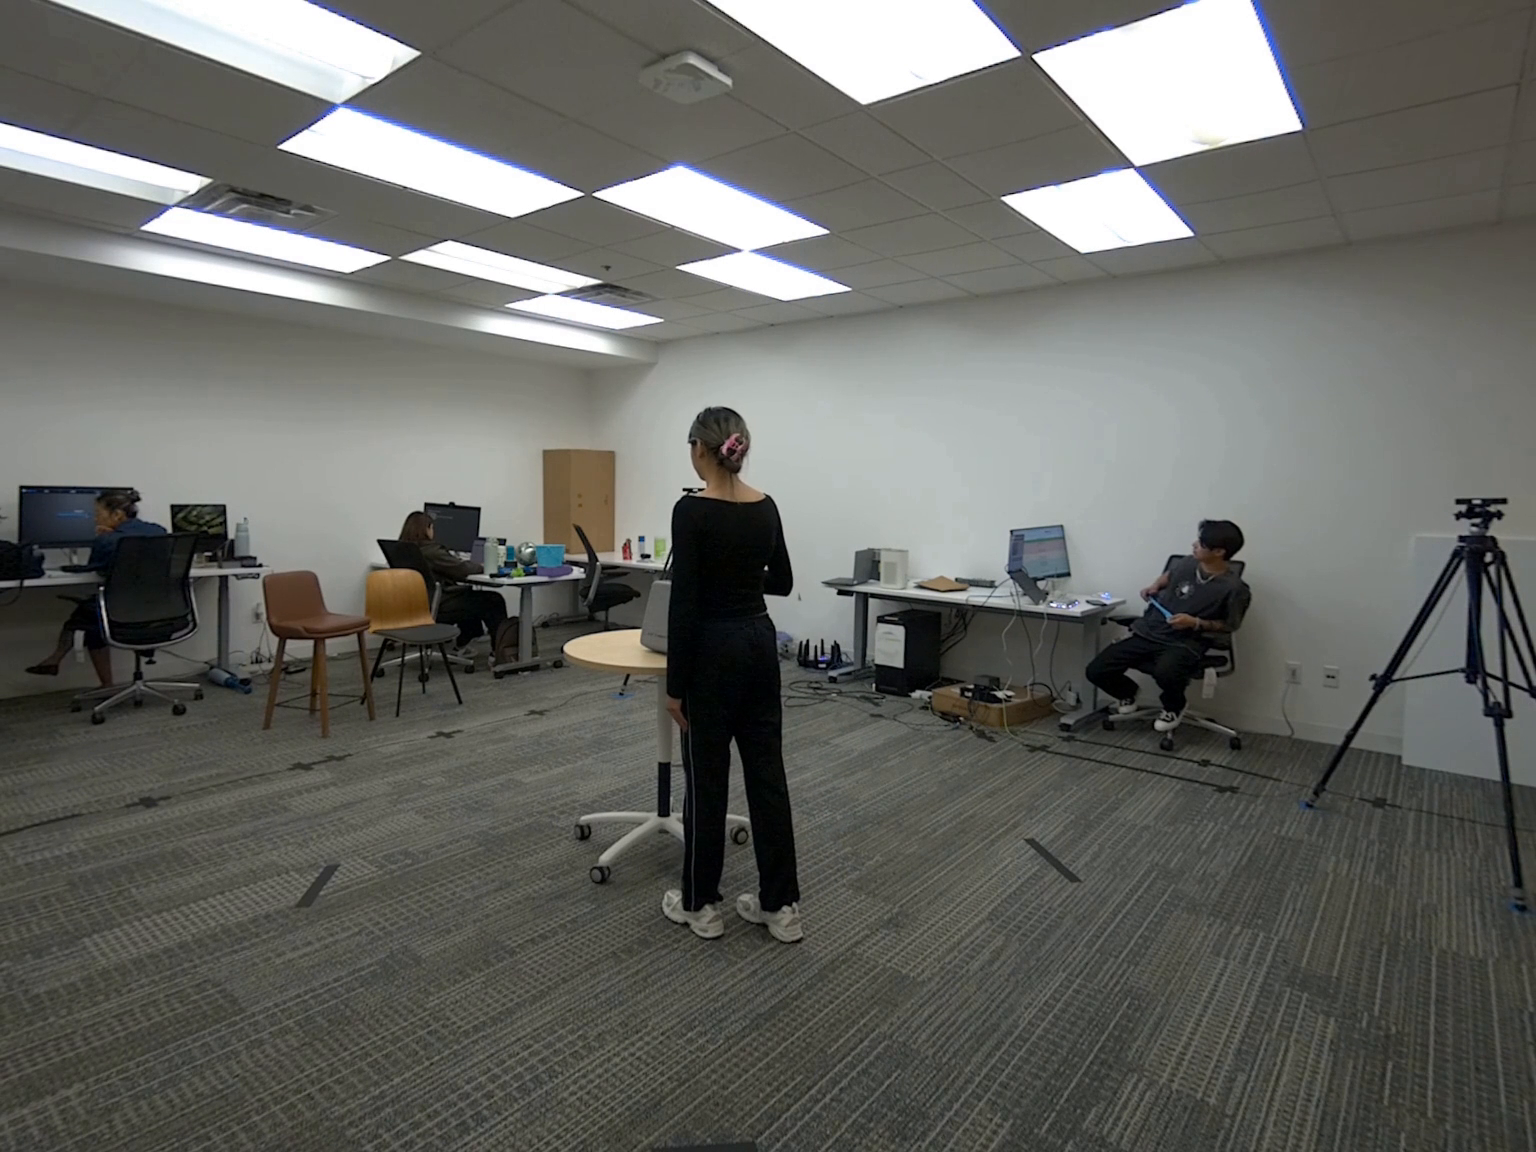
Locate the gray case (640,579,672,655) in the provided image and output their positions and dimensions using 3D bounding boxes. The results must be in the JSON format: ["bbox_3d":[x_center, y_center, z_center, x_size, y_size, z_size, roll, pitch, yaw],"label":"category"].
[{"bbox_3d":[-0.346,0.147,3.081,0.100,0.261,0.266,14,-6,-44],"label":"gray case"}]
